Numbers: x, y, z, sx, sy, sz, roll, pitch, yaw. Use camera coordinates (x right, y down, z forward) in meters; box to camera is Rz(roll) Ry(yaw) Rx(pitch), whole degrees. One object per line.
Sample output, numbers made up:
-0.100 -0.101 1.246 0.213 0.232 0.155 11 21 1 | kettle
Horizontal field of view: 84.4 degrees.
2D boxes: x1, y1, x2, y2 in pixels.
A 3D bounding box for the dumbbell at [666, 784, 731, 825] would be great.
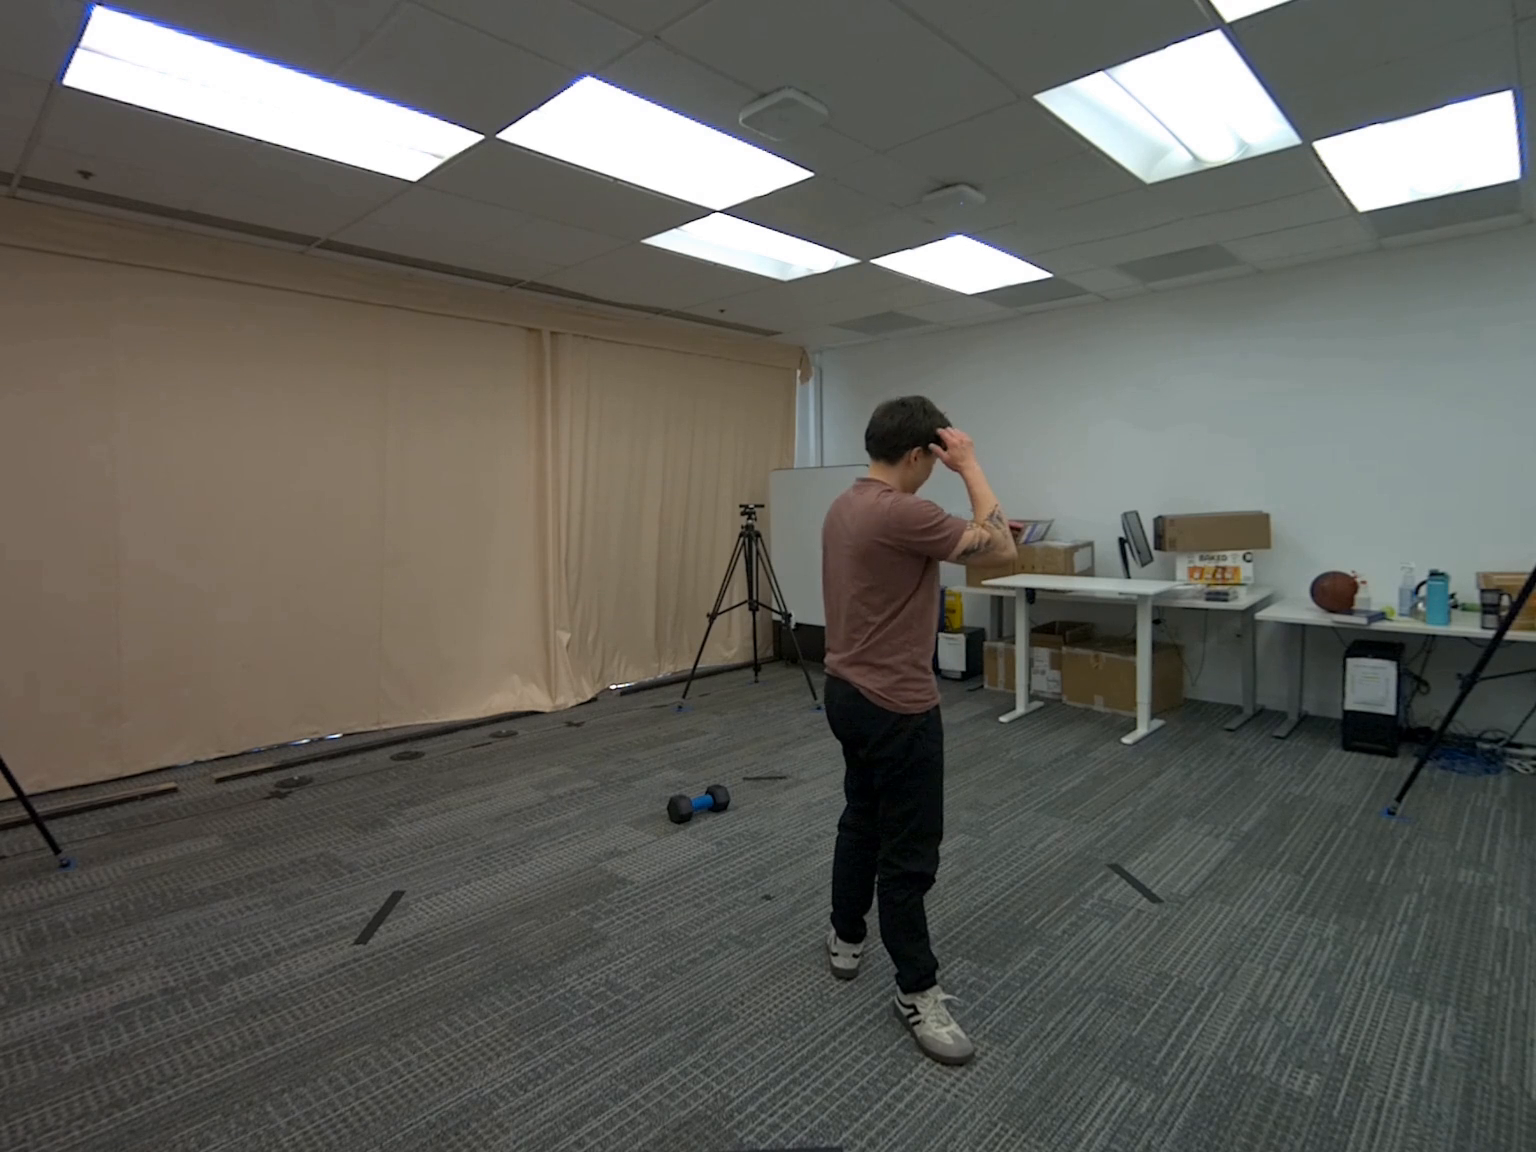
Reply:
-0.311 1.024 3.791 0.285 0.108 0.127 -5 5 -40 | dumbbell
